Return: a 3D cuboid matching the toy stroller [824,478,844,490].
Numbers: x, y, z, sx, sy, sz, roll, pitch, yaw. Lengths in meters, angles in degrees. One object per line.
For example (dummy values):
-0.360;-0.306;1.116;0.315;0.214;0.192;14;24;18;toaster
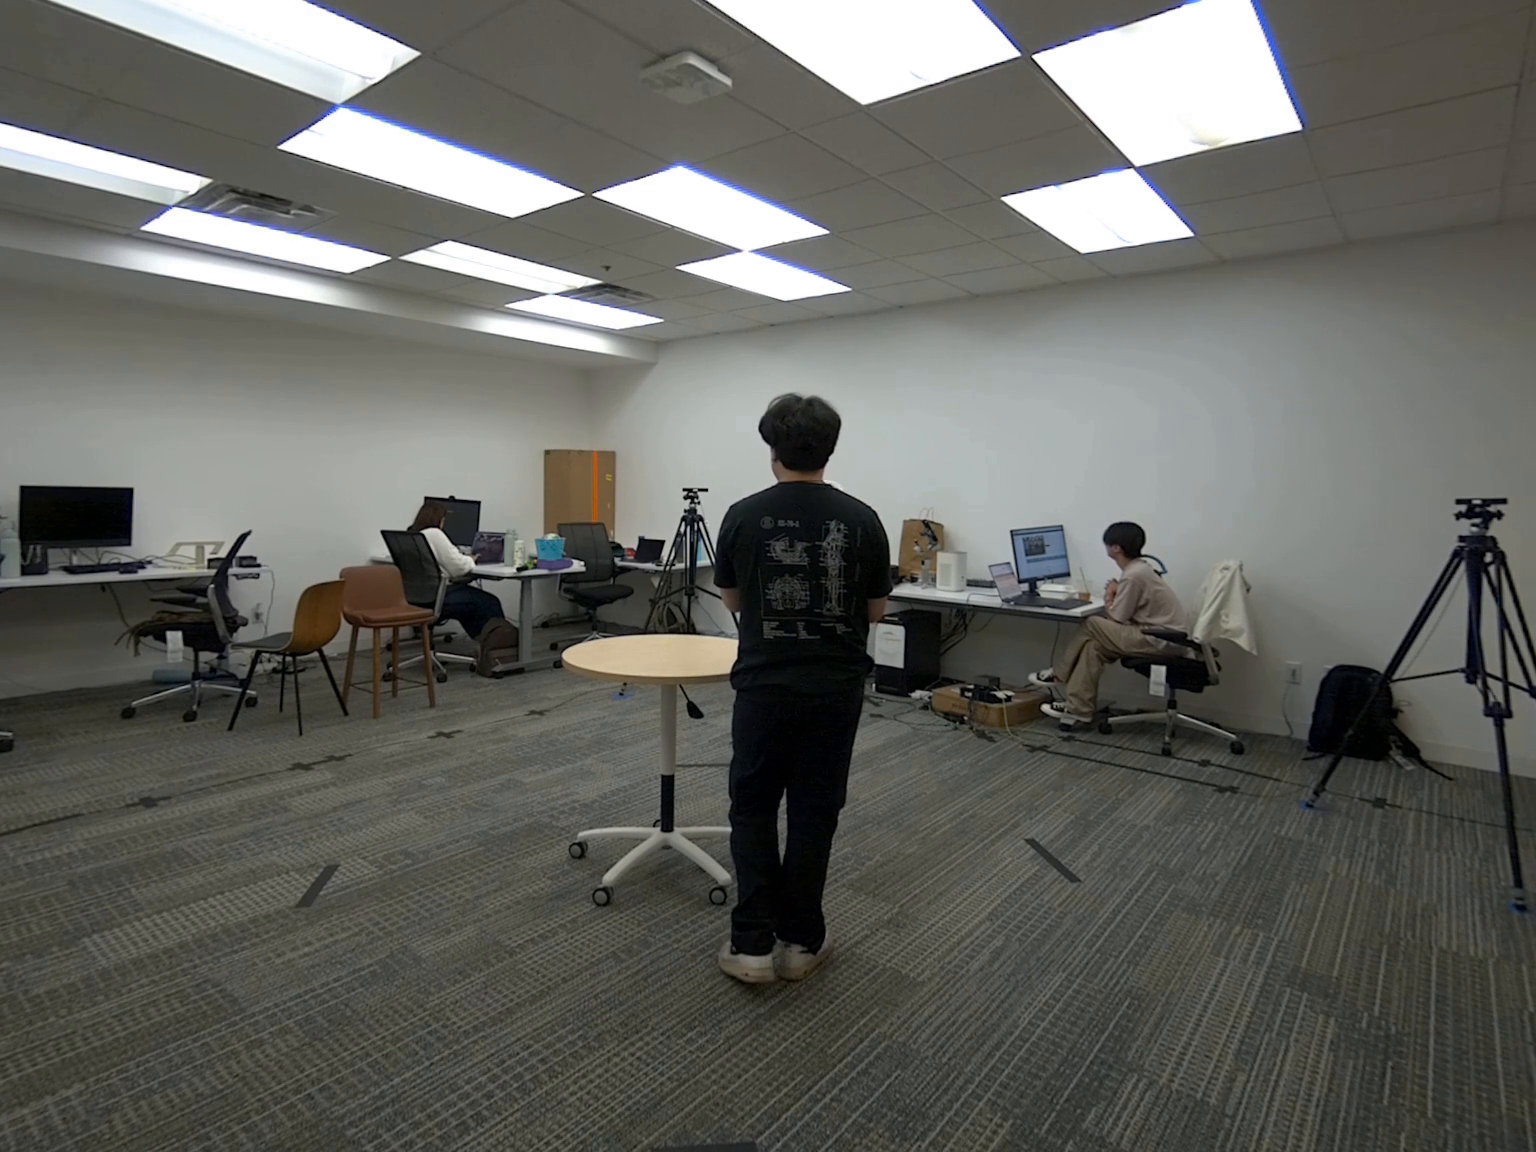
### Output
0.149;-0.052;2.833;0.285;0.534;0.337;-2;2;12;toy stroller
